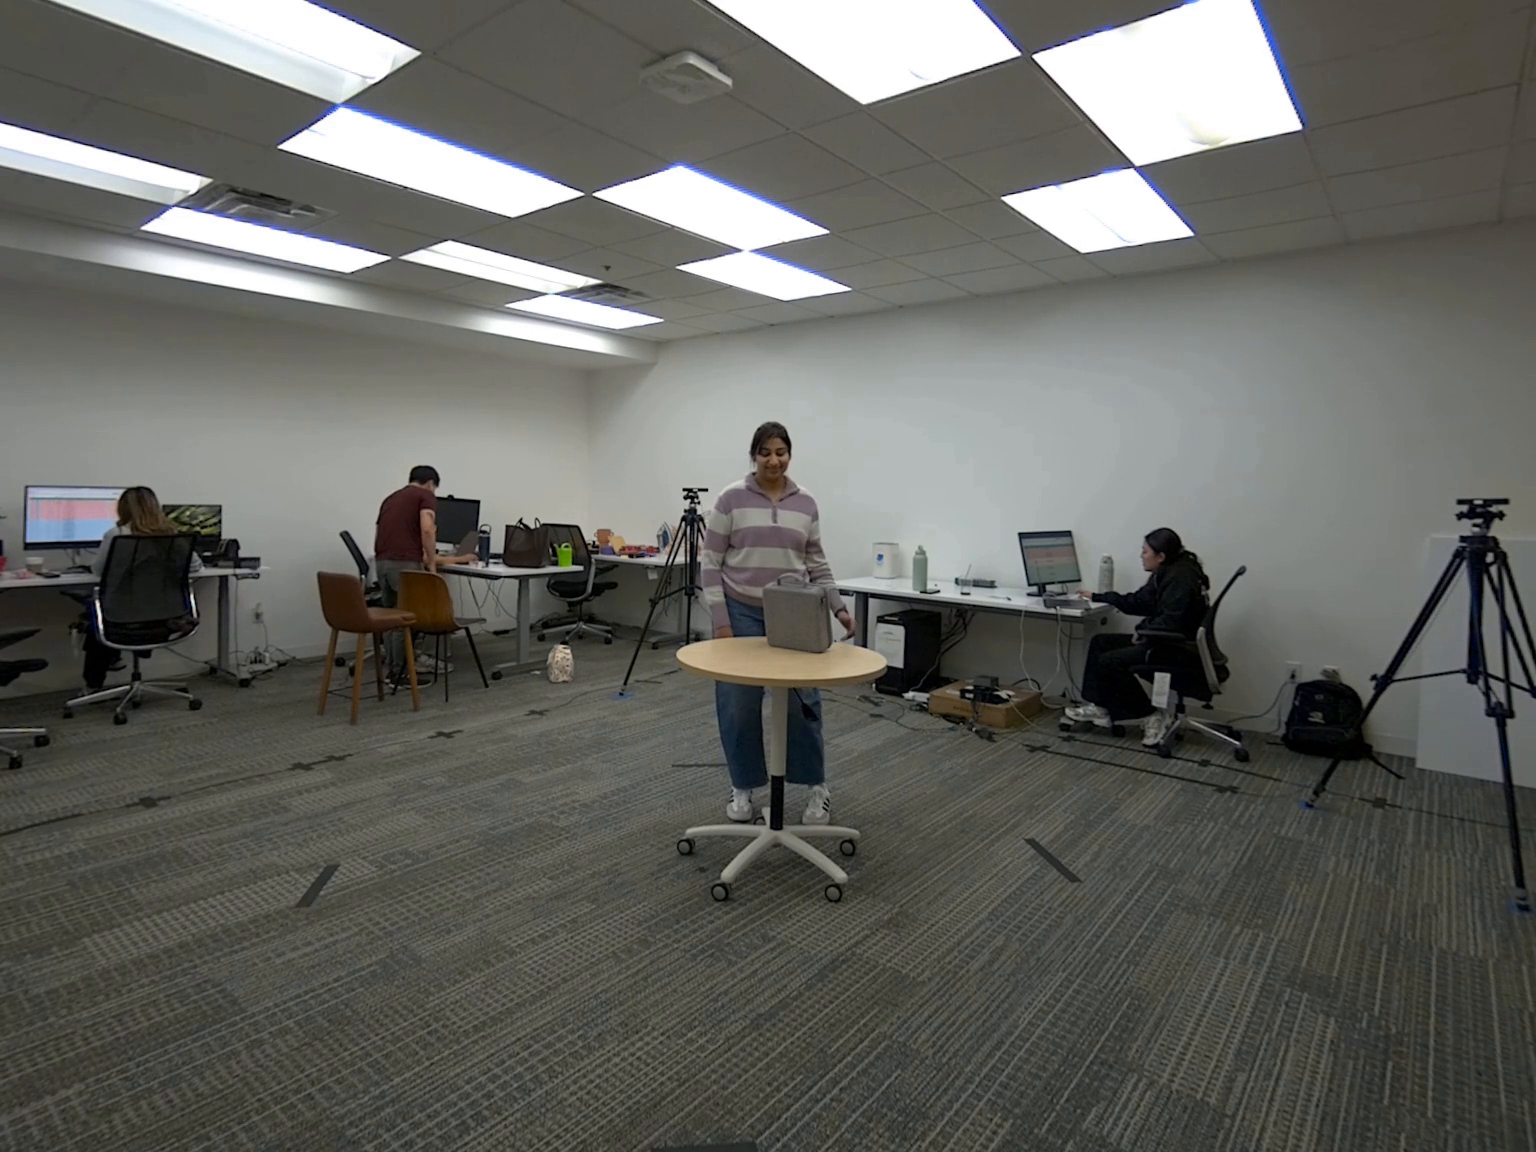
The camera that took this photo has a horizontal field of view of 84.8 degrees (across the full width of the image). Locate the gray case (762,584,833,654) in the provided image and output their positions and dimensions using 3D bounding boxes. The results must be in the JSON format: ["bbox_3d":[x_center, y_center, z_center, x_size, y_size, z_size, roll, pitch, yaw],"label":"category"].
[{"bbox_3d":[0.105,0.144,3.238,0.265,0.257,0.102,5,17,36],"label":"gray case"}]
